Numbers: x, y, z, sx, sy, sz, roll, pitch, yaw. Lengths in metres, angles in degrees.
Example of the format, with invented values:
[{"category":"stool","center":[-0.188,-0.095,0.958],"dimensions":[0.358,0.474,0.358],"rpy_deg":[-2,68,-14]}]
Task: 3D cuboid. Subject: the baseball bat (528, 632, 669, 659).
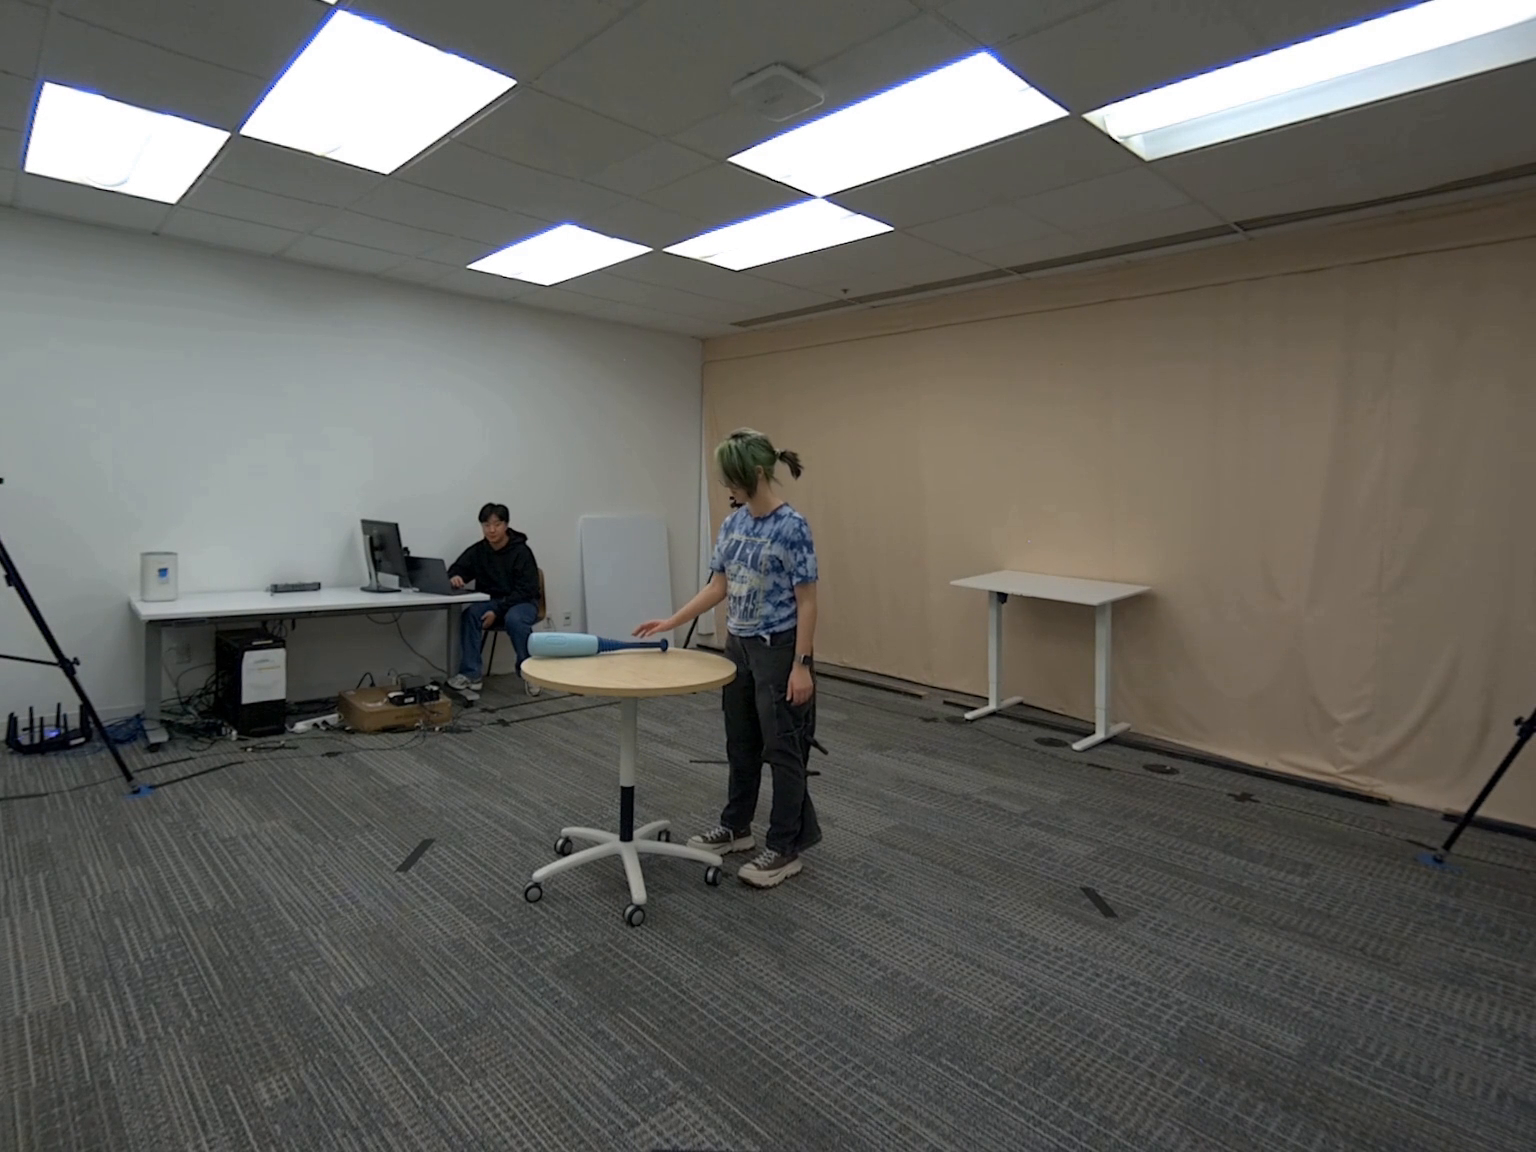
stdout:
[{"category":"baseball bat","center":[-0.638,0.265,3.189],"dimensions":[0.532,0.089,0.091],"rpy_deg":[3,3,-26]}]
